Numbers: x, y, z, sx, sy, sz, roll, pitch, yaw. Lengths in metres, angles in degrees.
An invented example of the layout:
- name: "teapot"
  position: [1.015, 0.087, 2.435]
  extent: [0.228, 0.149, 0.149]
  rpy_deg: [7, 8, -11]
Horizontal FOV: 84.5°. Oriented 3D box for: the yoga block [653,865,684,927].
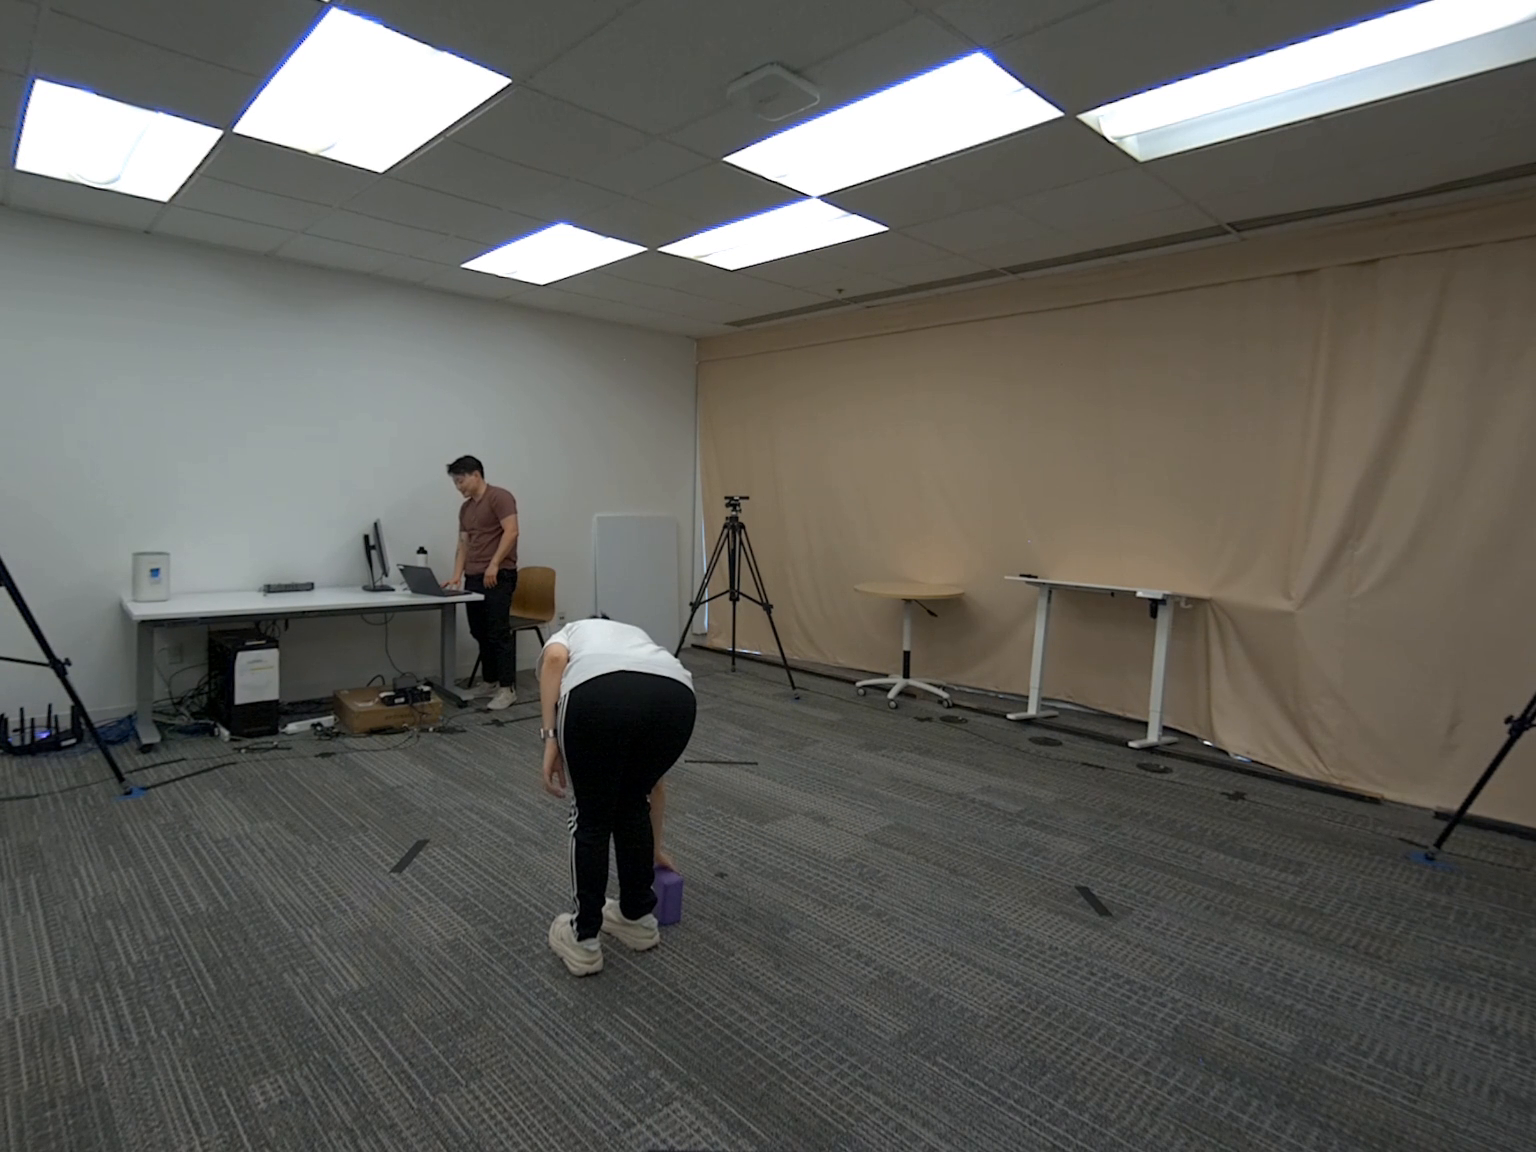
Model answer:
- name: "yoga block"
  position: [-0.382, 1.032, 2.821]
  extent: [0.075, 0.148, 0.235]
  rpy_deg: [1, 6, -36]
